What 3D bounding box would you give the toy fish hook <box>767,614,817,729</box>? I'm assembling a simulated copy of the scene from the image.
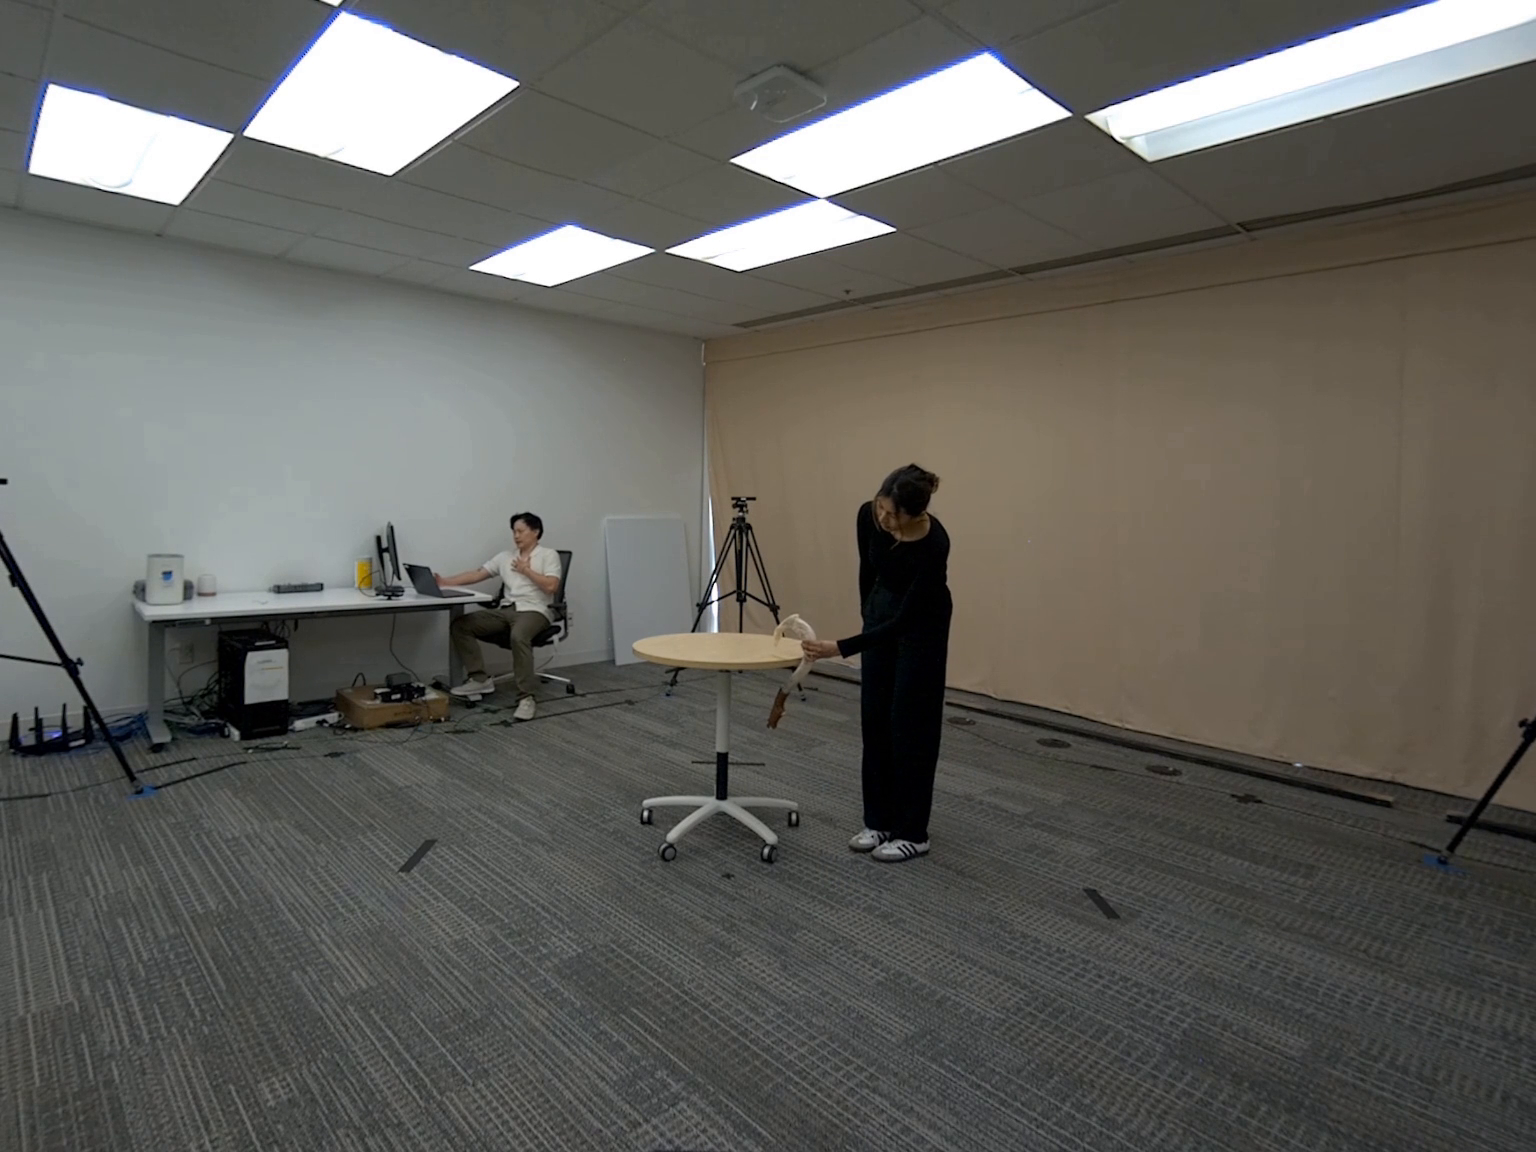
[{"bbox_3d":[0.053,0.379,3.268,0.047,0.501,0.232,-3,37,-37],"label":"toy fish hook"}]
